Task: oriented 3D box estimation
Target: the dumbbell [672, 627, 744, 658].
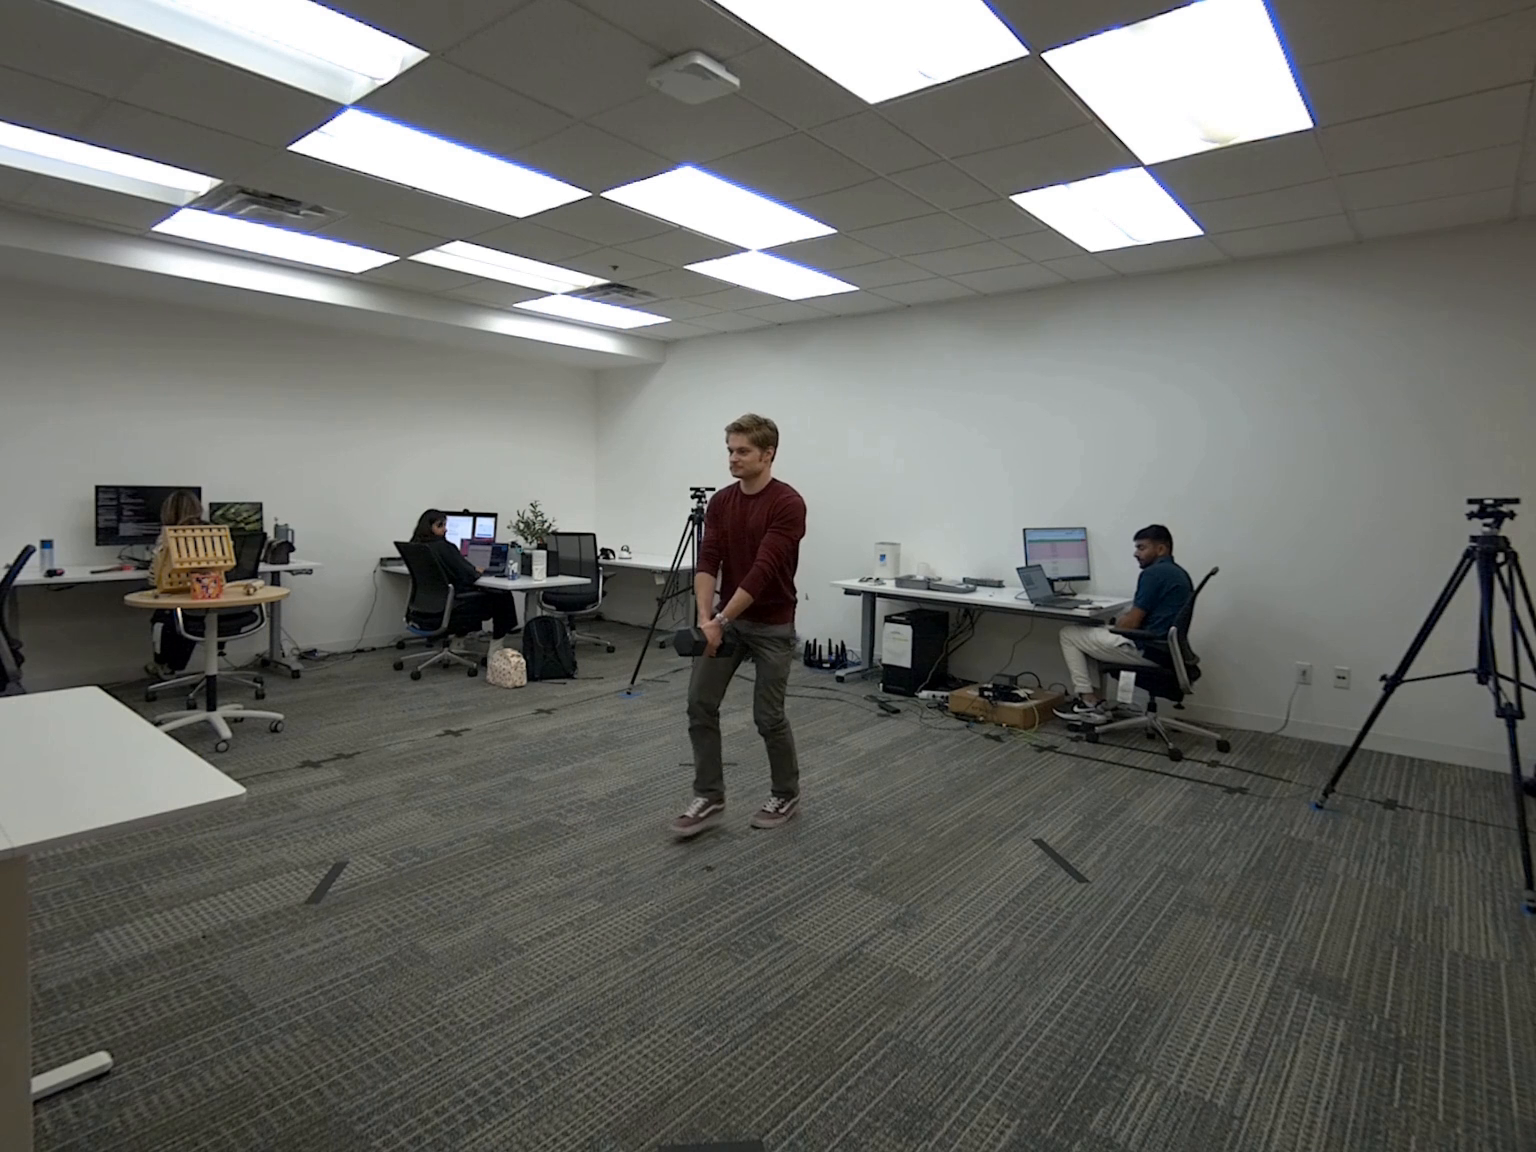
[{"bbox_3d":[-0.261,0.258,3.211,0.109,0.127,0.284,-40,-23,19],"label":"dumbbell"}]
